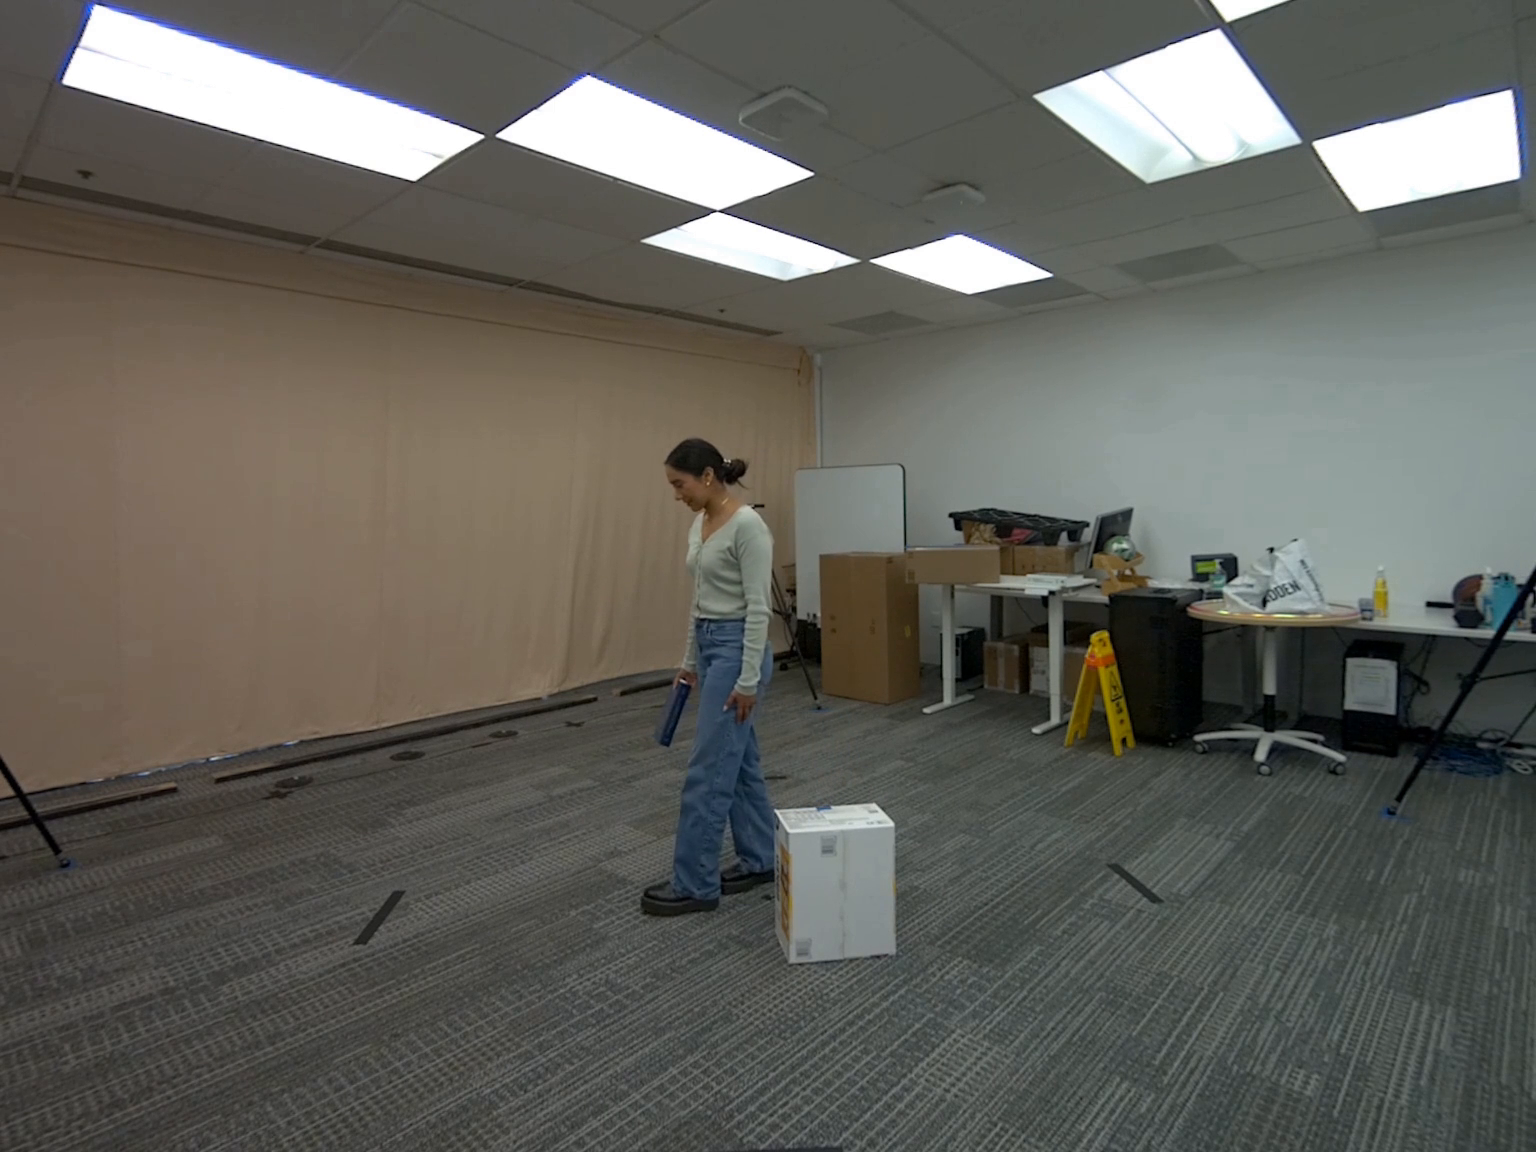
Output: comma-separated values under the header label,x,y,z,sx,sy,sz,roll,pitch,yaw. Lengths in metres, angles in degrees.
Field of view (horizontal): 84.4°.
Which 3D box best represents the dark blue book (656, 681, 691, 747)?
label,x,y,z,sx,sy,sz,roll,pitch,yaw
dark blue book,-0.370,0.517,3.241,0.044,0.245,0.165,20,-3,-13
